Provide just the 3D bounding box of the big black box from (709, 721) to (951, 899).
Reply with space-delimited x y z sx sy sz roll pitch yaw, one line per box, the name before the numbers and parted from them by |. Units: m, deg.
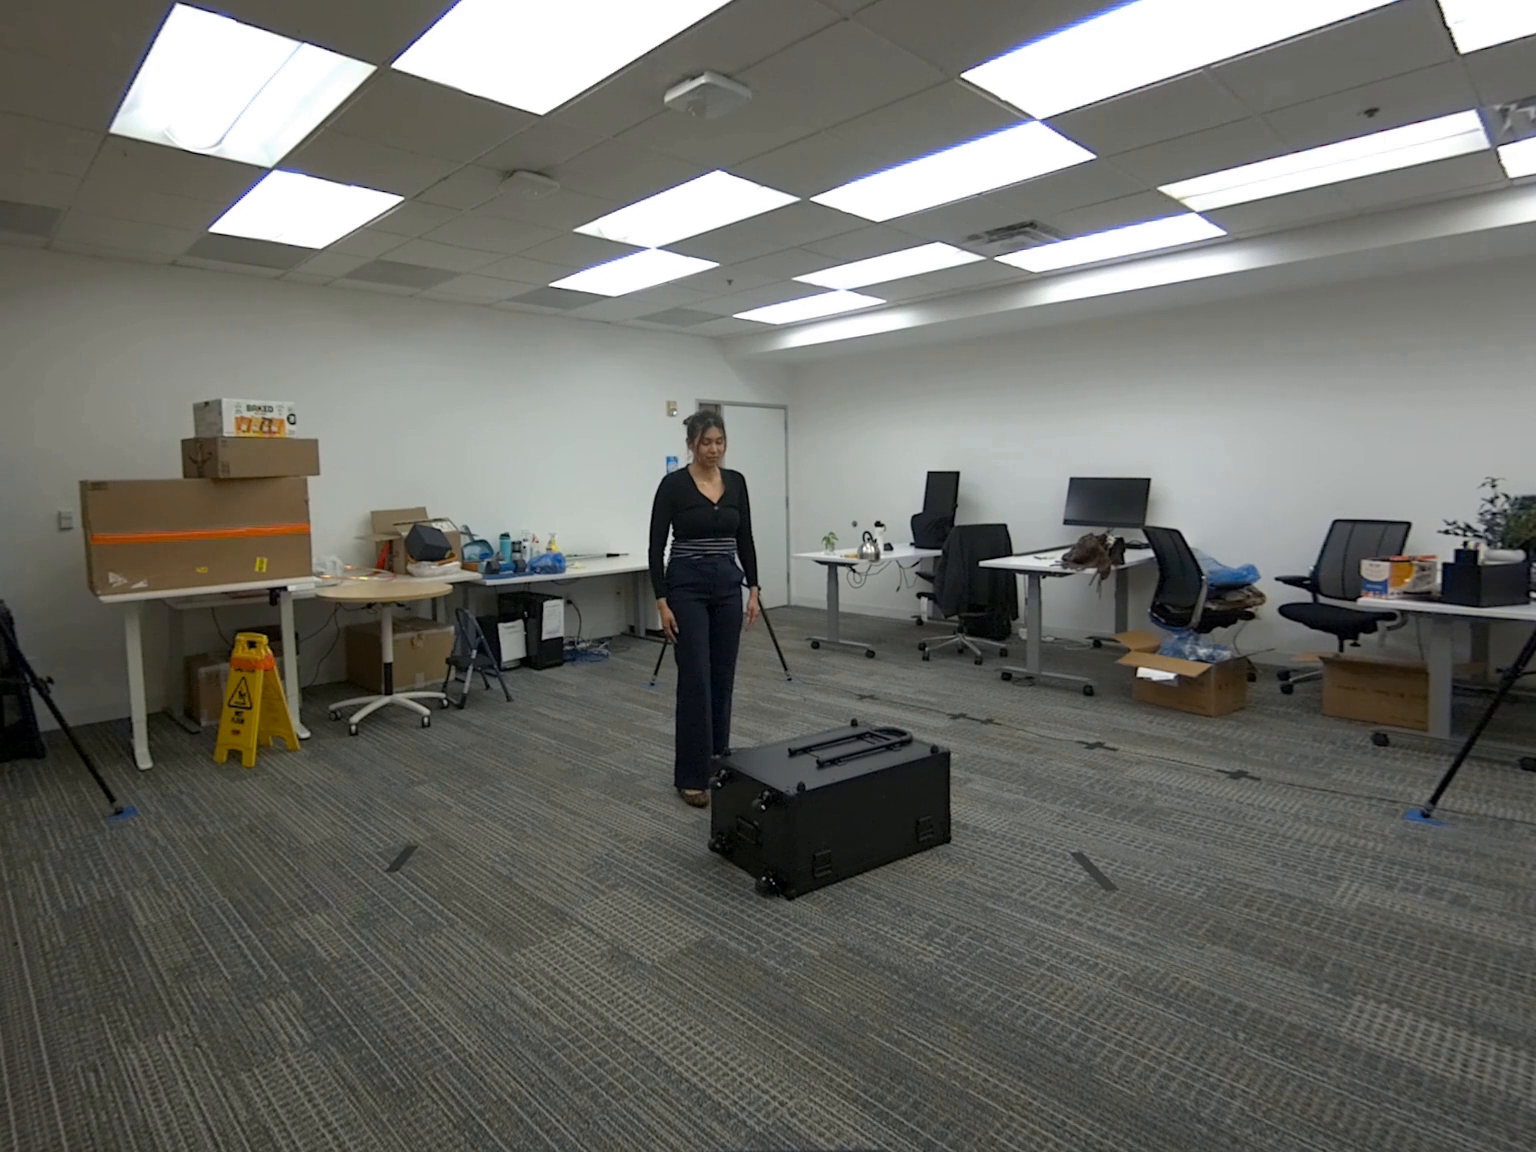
big black box | 0.262 0.849 3.239 0.840 0.394 0.537 -5 7 -35
